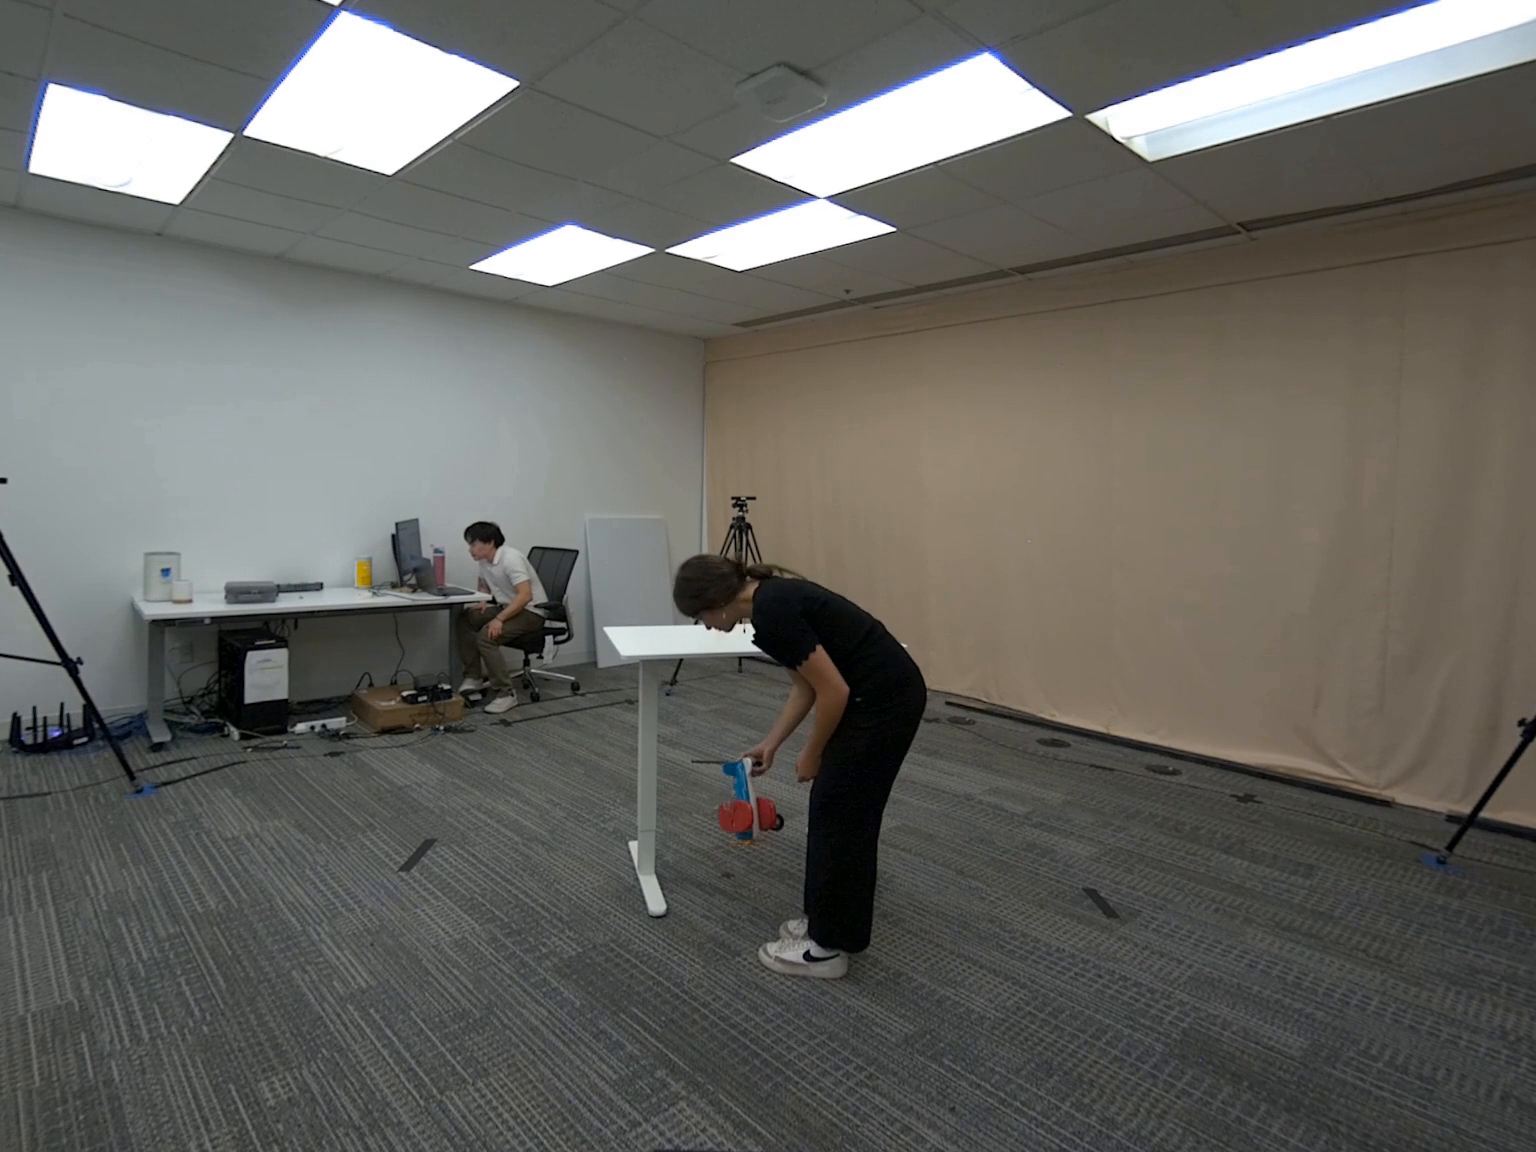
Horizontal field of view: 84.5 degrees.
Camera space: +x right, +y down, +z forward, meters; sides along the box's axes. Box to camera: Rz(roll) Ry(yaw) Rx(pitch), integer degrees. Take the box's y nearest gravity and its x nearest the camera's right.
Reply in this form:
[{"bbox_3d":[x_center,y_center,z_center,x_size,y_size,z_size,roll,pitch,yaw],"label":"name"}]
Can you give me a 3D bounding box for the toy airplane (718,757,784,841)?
[{"bbox_3d":[-0.081,0.726,2.707,0.154,0.247,0.267,-14,53,-28],"label":"toy airplane"}]
